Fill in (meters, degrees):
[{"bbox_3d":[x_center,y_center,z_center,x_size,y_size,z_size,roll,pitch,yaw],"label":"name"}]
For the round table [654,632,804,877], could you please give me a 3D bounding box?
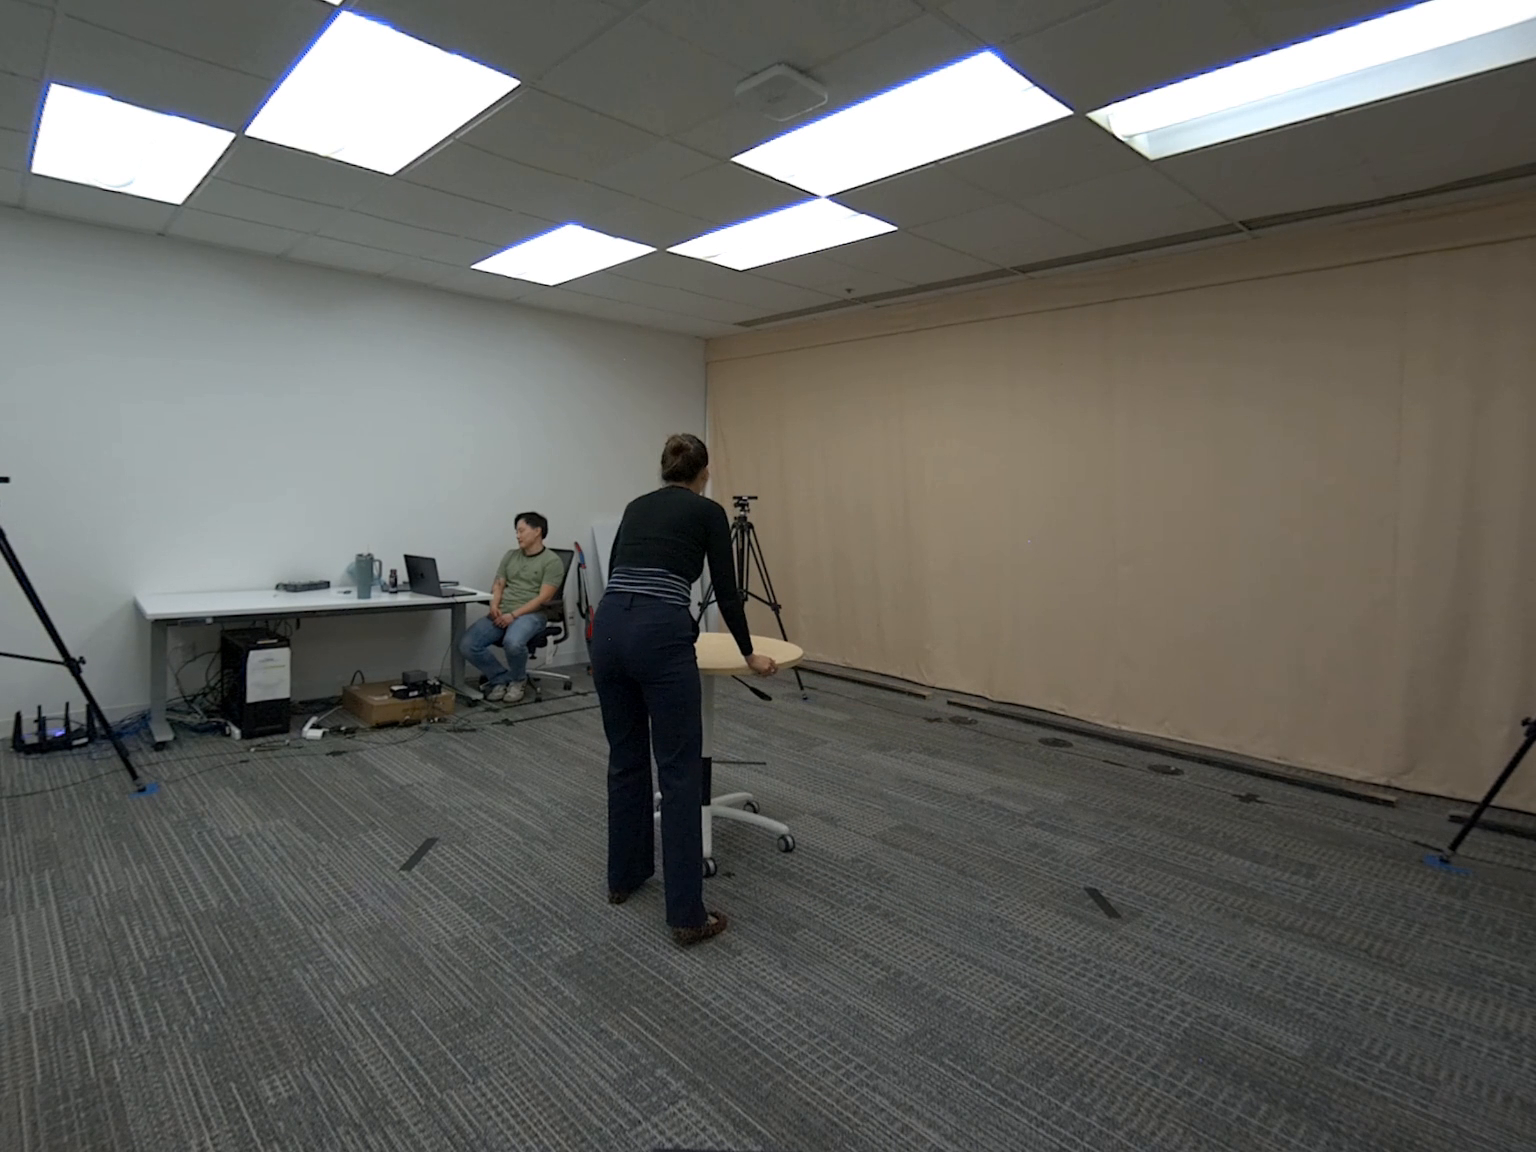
[{"bbox_3d":[-0.255,0.685,3.409,0.763,0.792,0.766,1,4,-1],"label":"round table"}]
